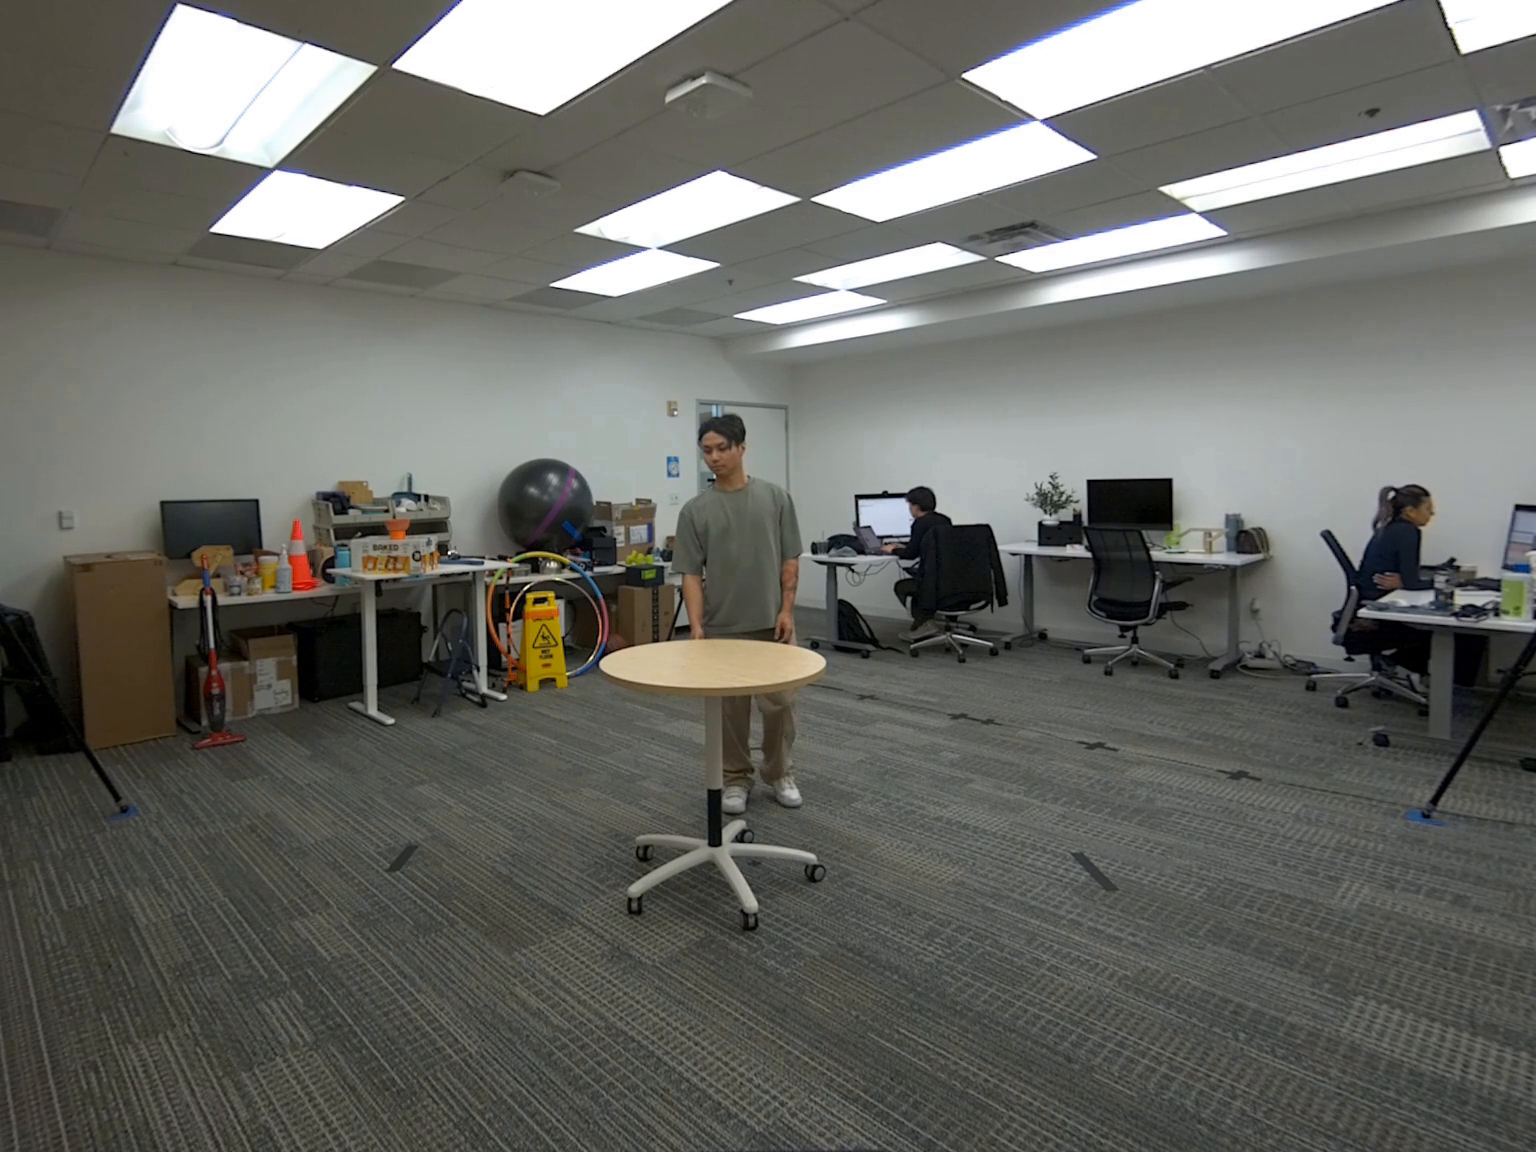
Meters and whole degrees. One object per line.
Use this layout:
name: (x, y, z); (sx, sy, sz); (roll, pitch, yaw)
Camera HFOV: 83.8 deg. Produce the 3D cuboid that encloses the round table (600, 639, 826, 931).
round table: (-0.198, 0.679, 2.925); (0.784, 0.784, 0.789); (-1, 5, -2)
